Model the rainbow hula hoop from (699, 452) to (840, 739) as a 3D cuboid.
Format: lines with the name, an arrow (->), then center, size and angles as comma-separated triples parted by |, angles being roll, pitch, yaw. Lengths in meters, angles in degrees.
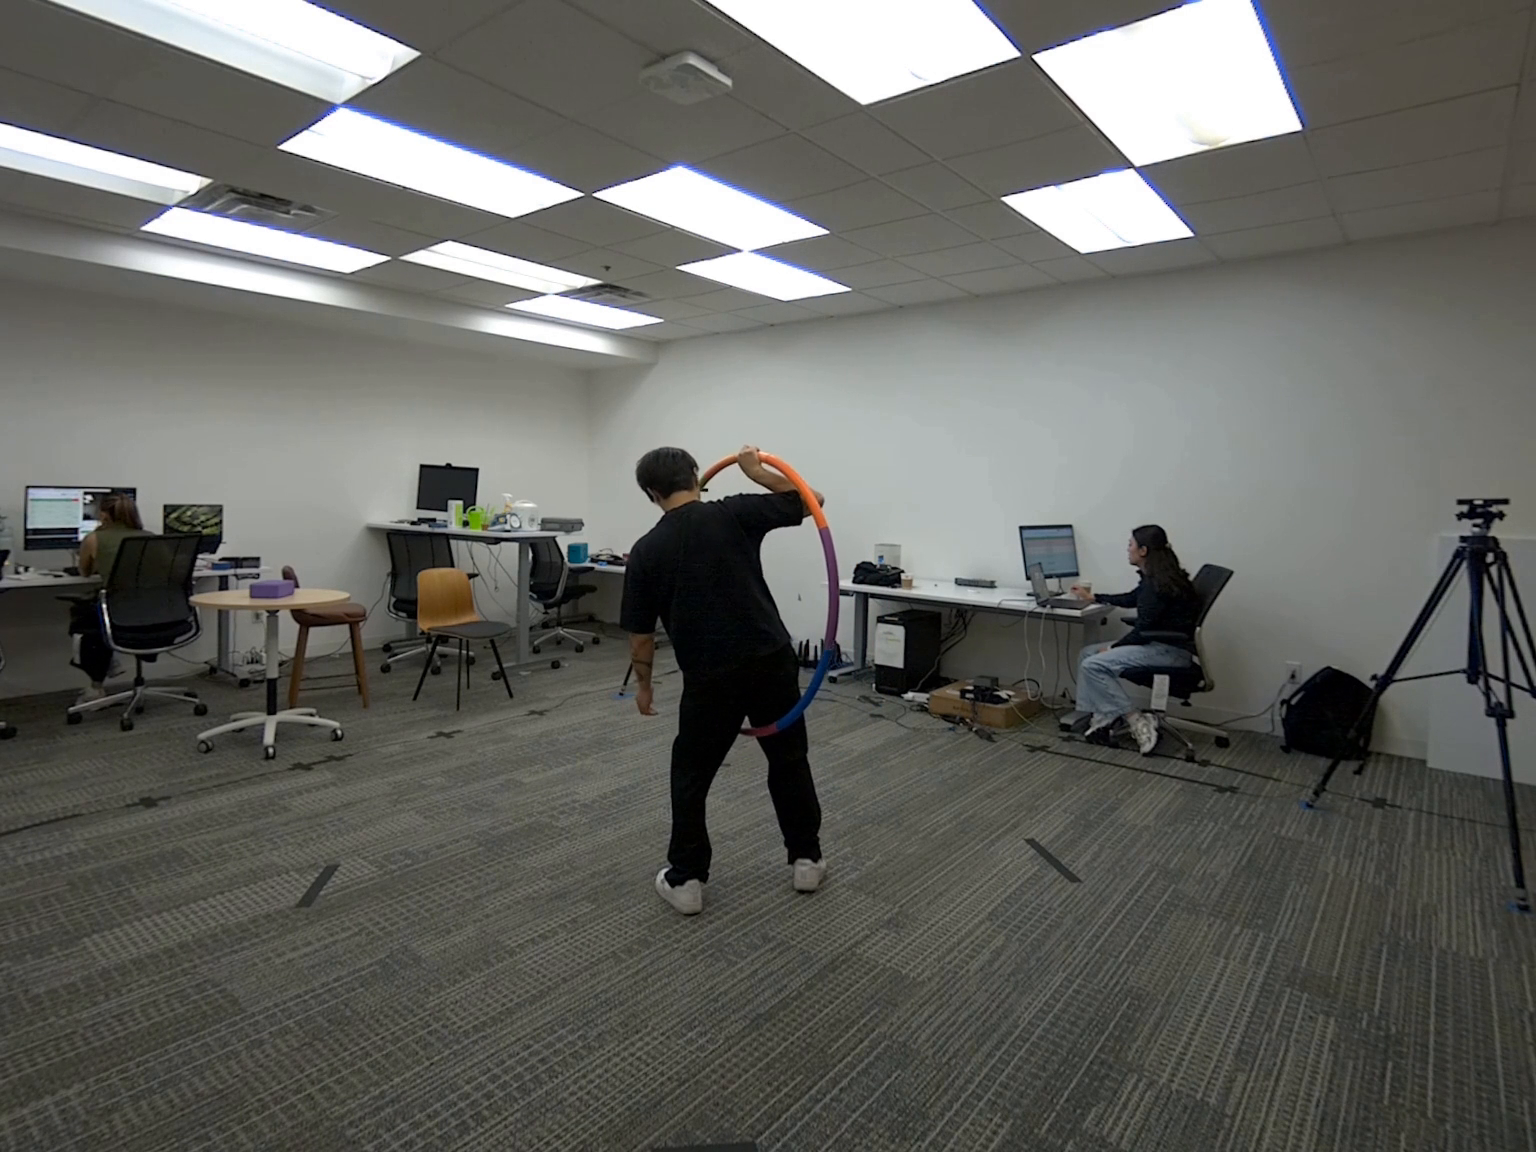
rainbow hula hoop -> -0.103, 0.051, 3.000 | 0.034, 0.977, 1.011 | 1, 3, -38
